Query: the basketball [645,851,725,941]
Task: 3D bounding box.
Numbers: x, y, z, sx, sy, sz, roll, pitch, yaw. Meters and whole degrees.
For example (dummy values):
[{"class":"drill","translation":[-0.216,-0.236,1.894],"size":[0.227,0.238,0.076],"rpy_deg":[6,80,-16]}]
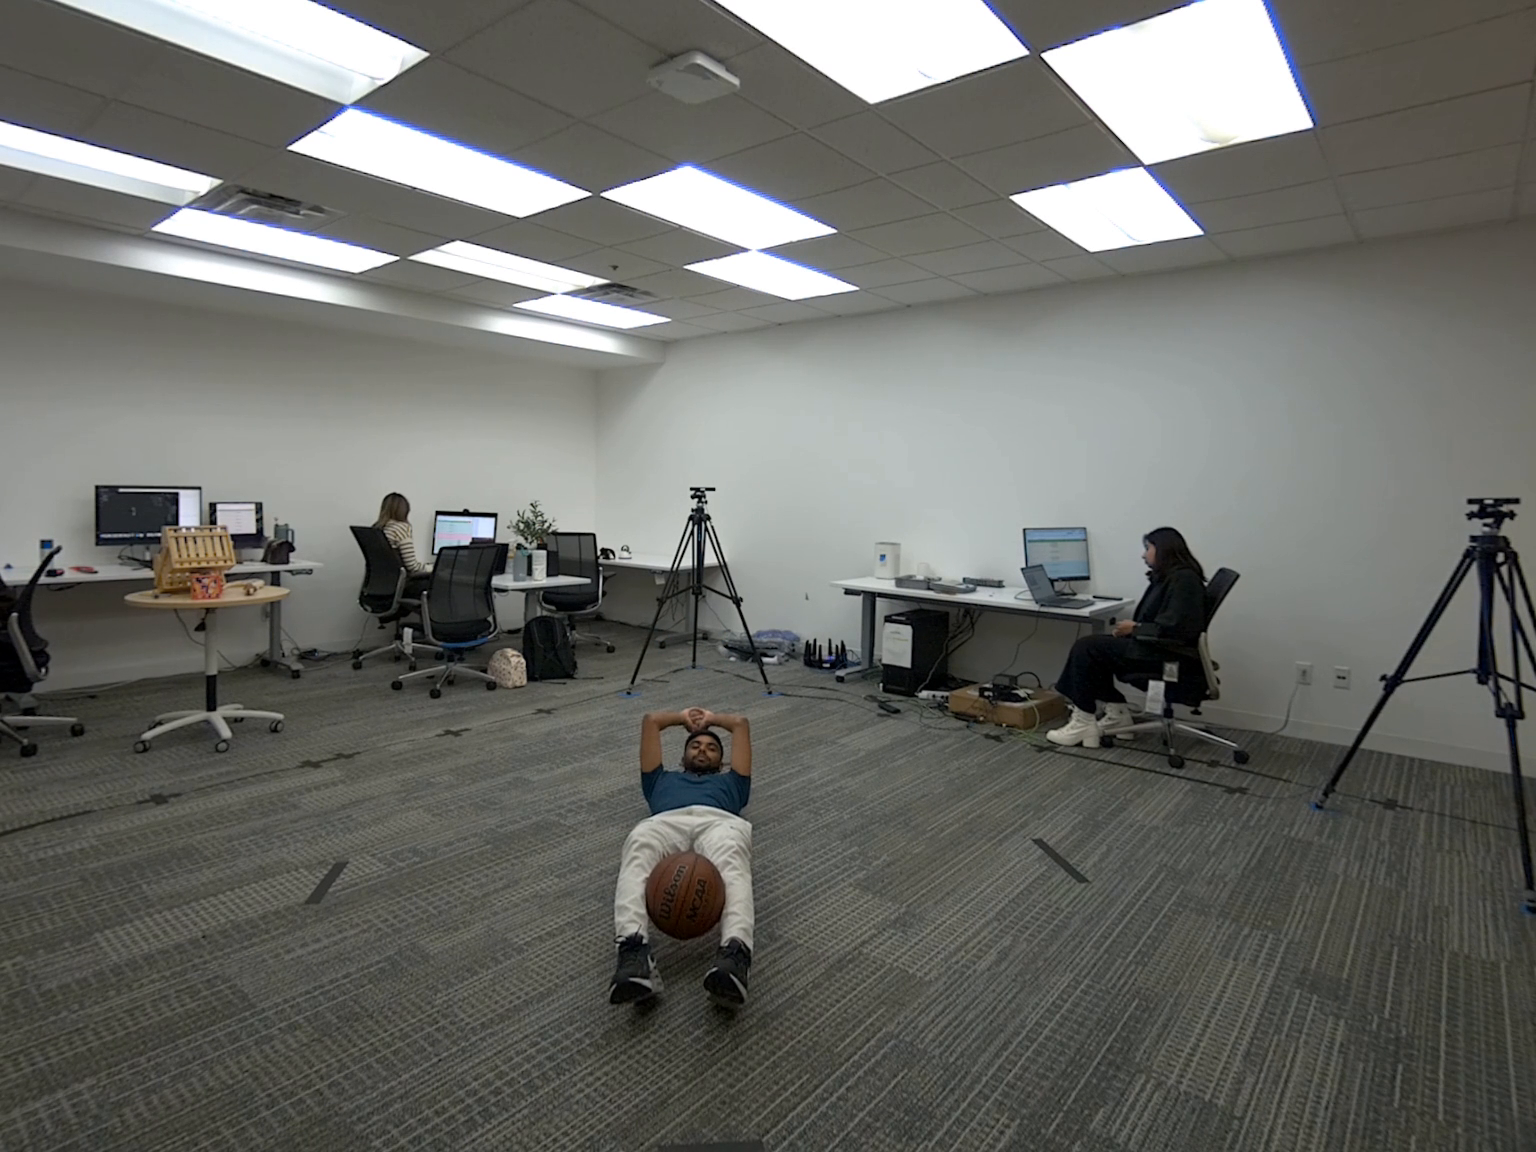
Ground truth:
[{"class":"basketball","translation":[-0.249,0.932,2.502],"size":[0.235,0.235,0.237],"rpy_deg":[1,4,-2]}]
